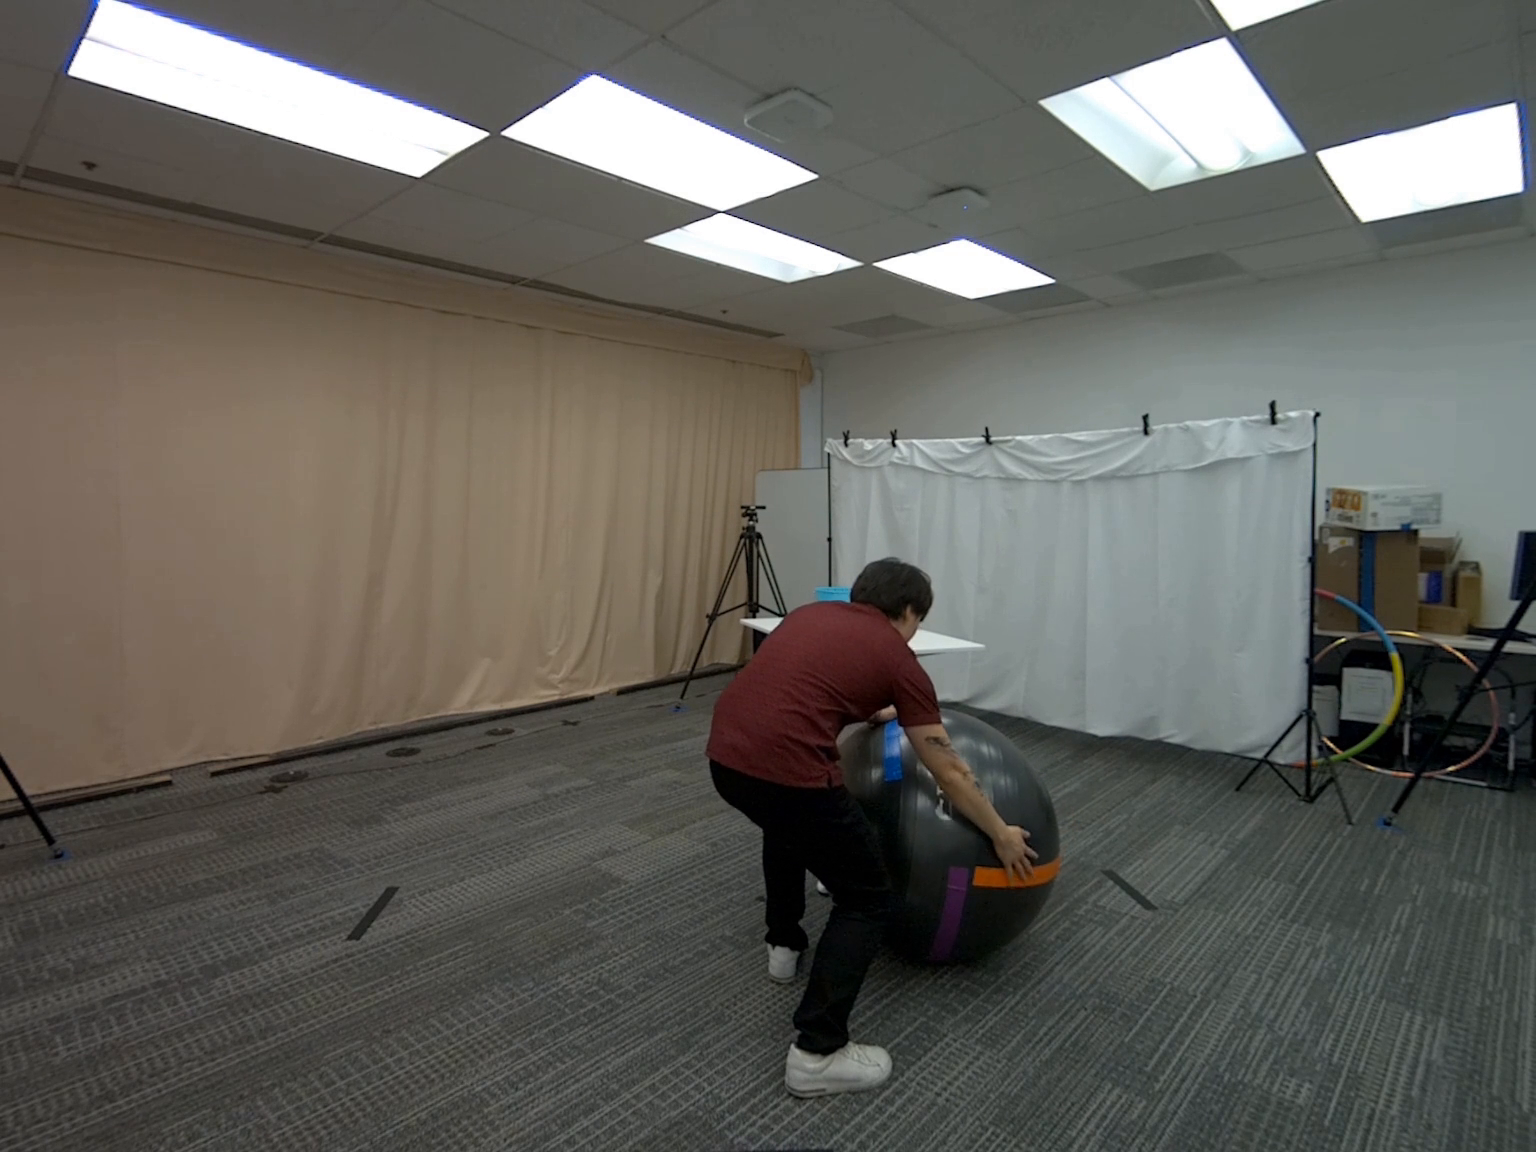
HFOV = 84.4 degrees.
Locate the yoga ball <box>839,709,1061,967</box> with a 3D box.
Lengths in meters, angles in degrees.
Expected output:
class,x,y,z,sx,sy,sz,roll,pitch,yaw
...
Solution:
class,x,y,z,sx,sy,sz,roll,pitch,yaw
yoga ball,0.524,0.806,2.662,0.757,0.756,0.760,0,4,-2
